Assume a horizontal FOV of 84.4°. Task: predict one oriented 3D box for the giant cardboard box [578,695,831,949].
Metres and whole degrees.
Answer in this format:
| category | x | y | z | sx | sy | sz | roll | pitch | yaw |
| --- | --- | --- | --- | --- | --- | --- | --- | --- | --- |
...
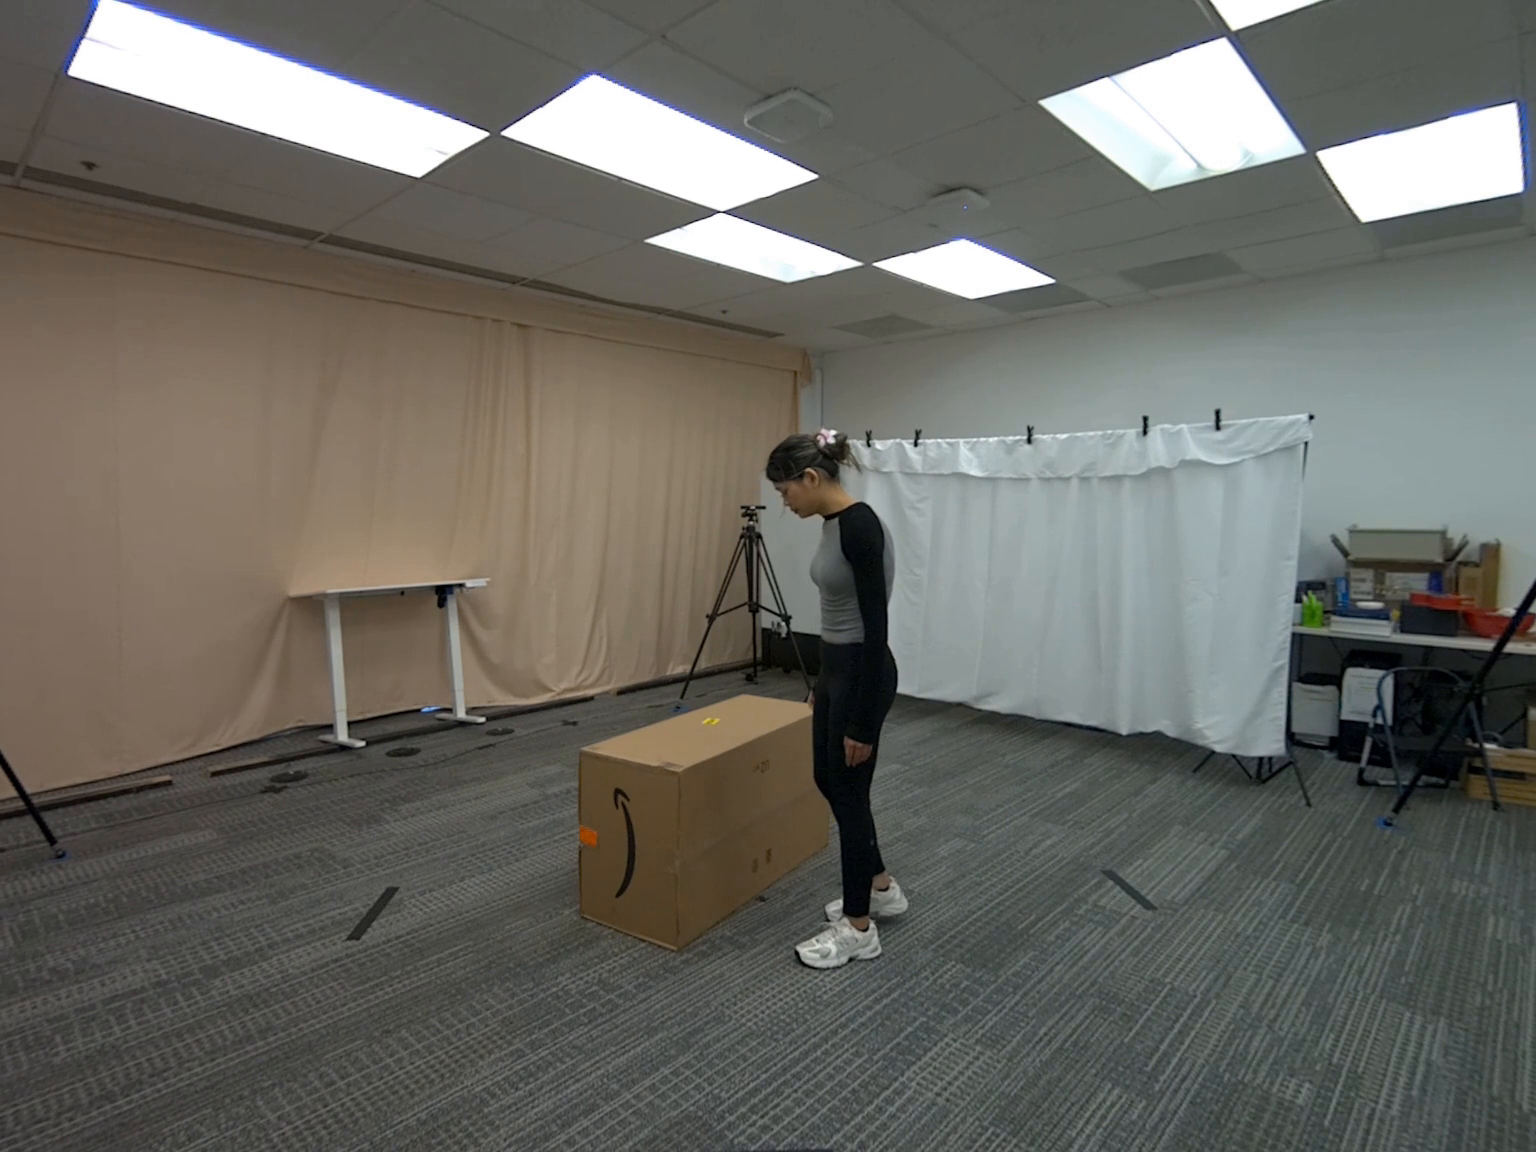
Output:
| category | x | y | z | sx | sy | sz | roll | pitch | yaw |
| --- | --- | --- | --- | --- | --- | --- | --- | --- | --- |
| giant cardboard box | -0.197 | 0.845 | 3.149 | 0.439 | 0.576 | 0.997 | 3 | 5 | 33 |
